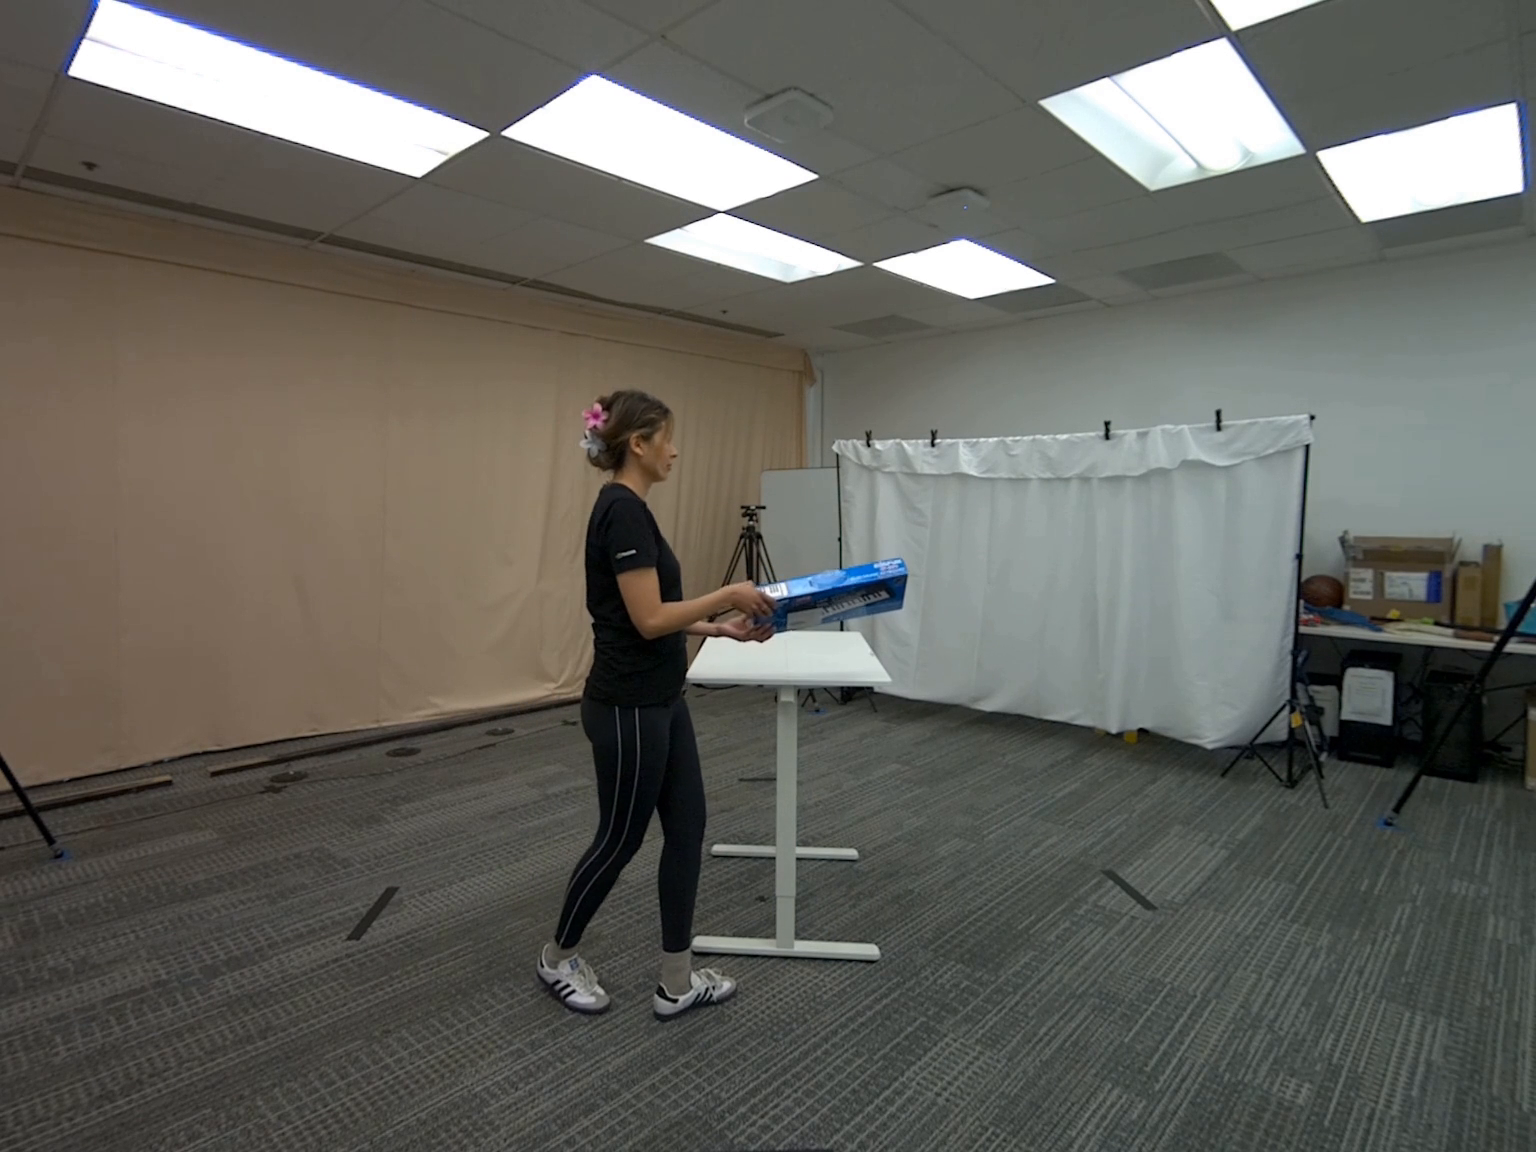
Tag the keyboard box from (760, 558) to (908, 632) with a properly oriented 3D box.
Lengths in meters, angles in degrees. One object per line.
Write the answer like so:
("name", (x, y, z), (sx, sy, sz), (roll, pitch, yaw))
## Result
("keyboard box", (0.169, 0.065, 2.359), (0.435, 0.060, 0.172), (-11, -37, -3))
